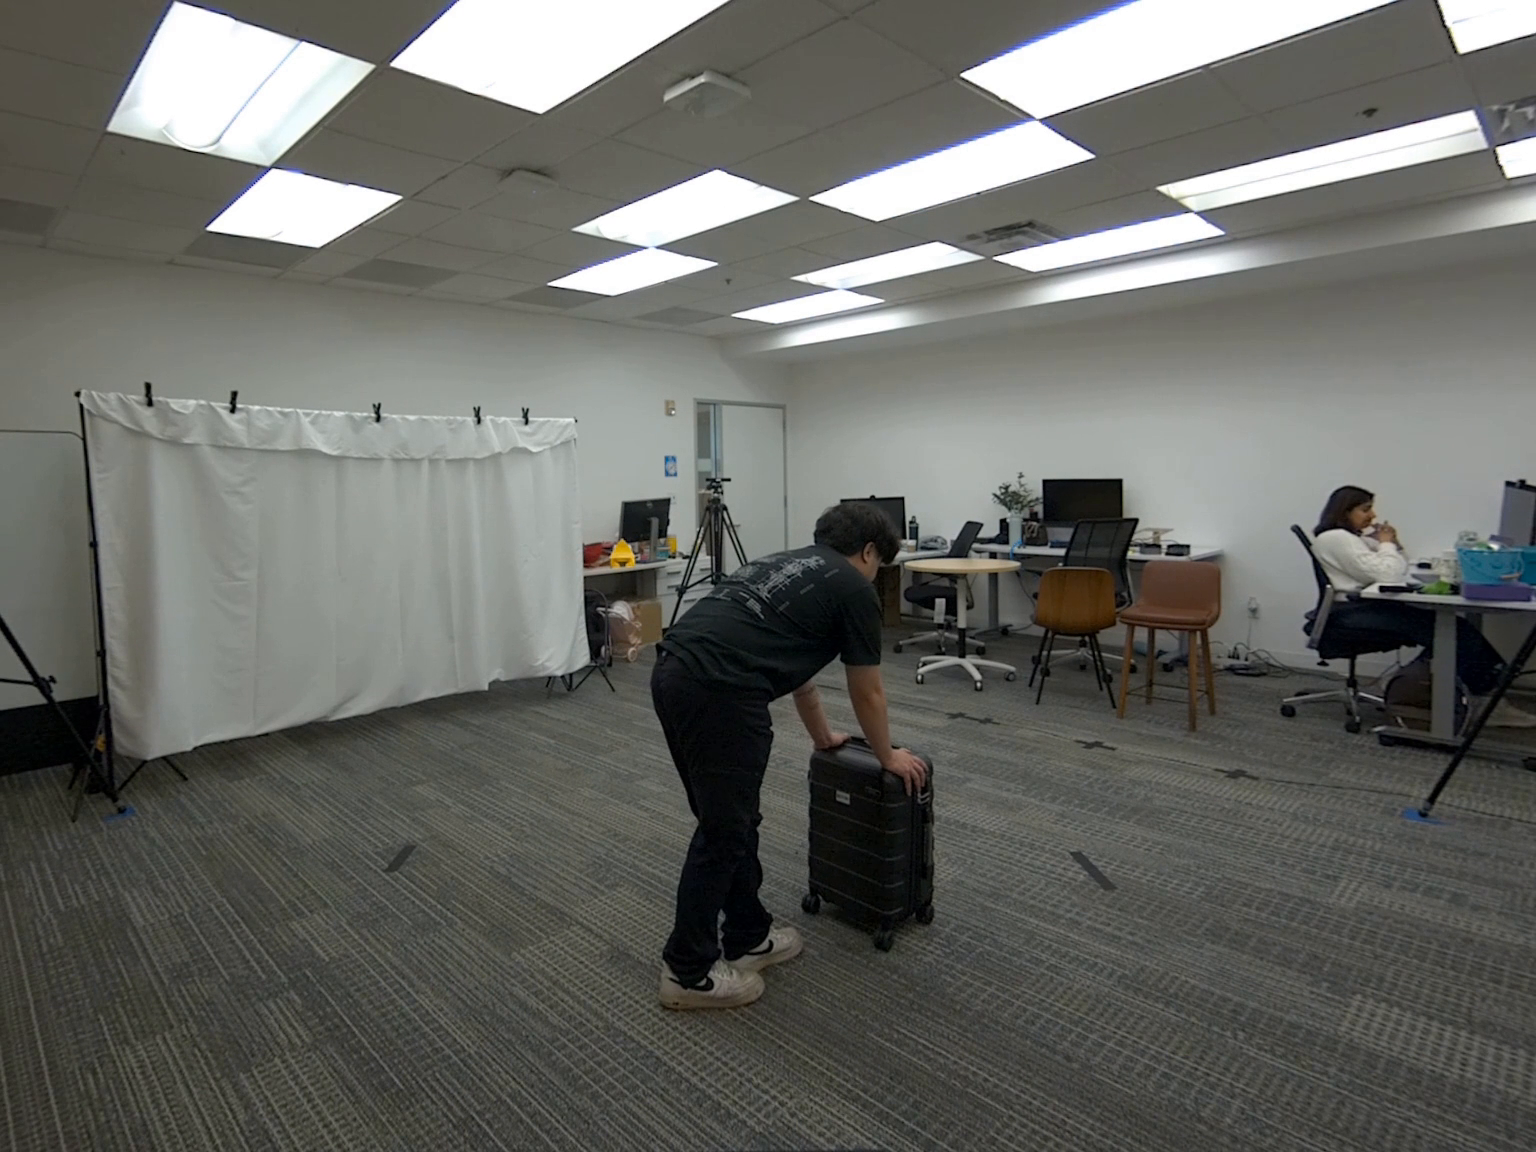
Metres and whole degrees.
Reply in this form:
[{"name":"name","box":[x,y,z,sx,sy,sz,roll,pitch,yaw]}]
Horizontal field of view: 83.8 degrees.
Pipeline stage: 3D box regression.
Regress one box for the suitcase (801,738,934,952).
[{"name":"suitcase","box":[0.332,0.809,2.714,0.241,0.548,0.387,-2,3,-45]}]
